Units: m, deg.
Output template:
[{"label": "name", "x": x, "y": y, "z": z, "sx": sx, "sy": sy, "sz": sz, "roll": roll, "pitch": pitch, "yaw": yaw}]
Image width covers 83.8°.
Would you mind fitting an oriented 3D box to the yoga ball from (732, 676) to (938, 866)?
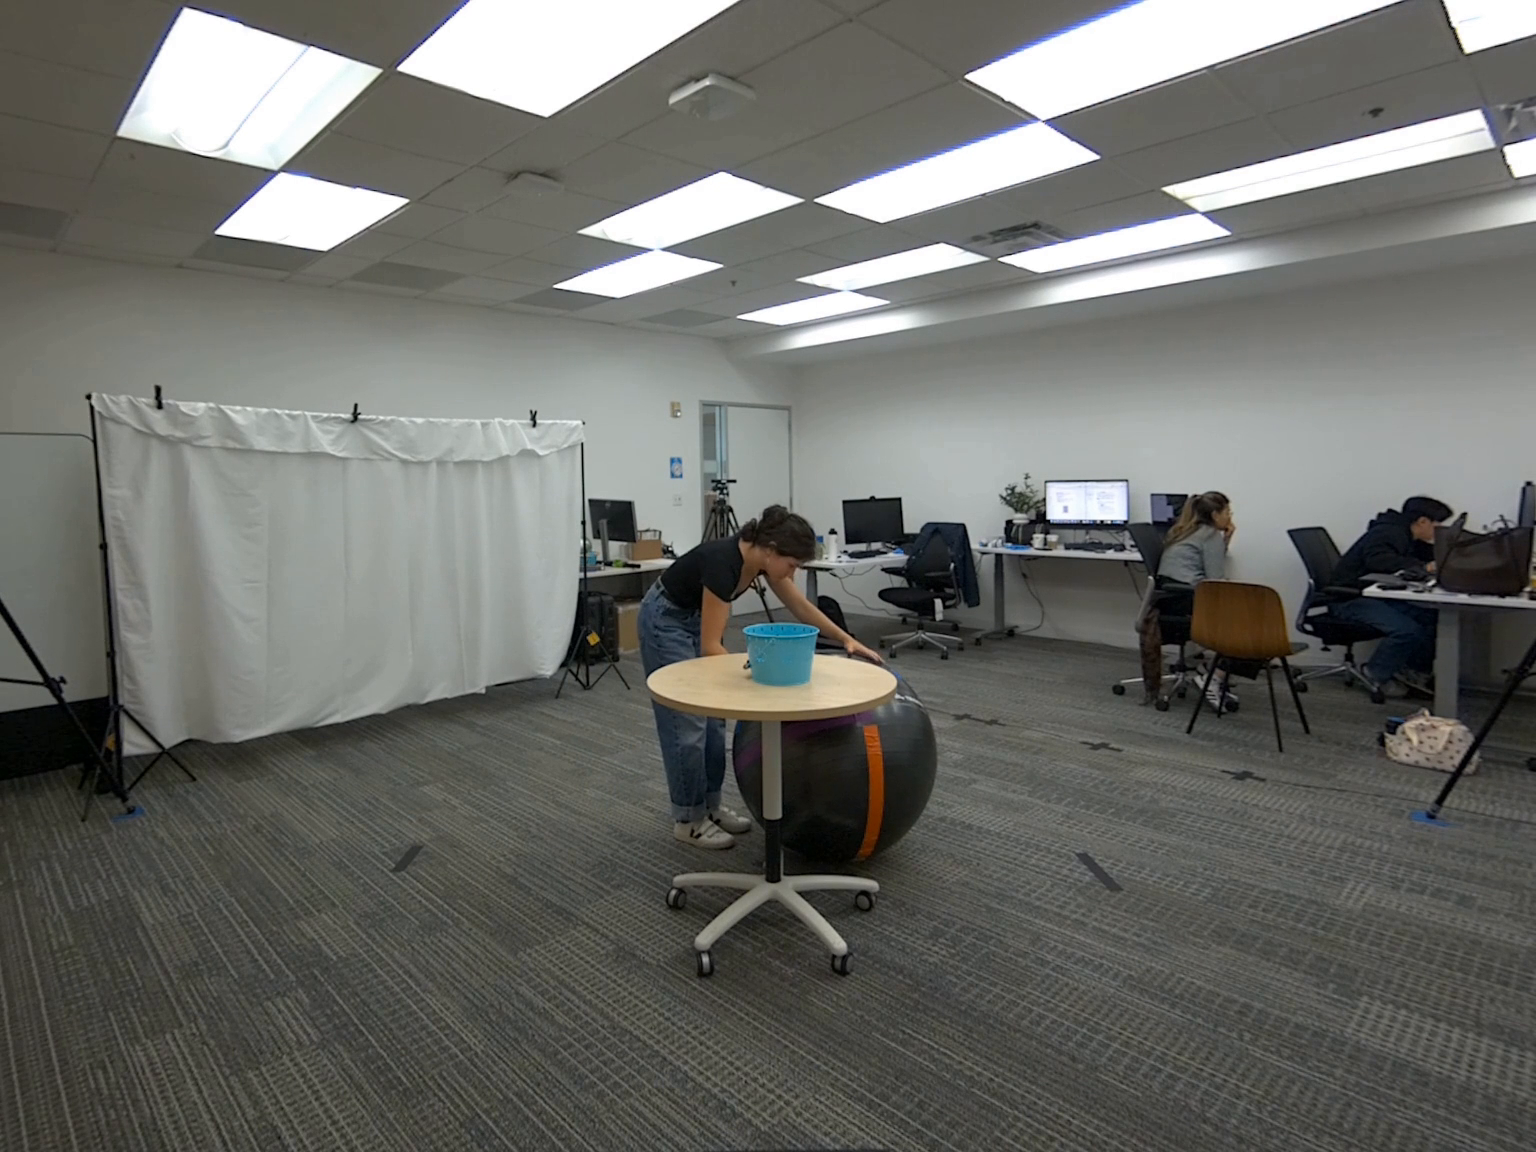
[{"label": "yoga ball", "x": 0.246, "y": 0.665, "z": 3.196, "sx": 0.757, "sy": 0.755, "sz": 0.762, "roll": -1, "pitch": 5, "yaw": -2}]
